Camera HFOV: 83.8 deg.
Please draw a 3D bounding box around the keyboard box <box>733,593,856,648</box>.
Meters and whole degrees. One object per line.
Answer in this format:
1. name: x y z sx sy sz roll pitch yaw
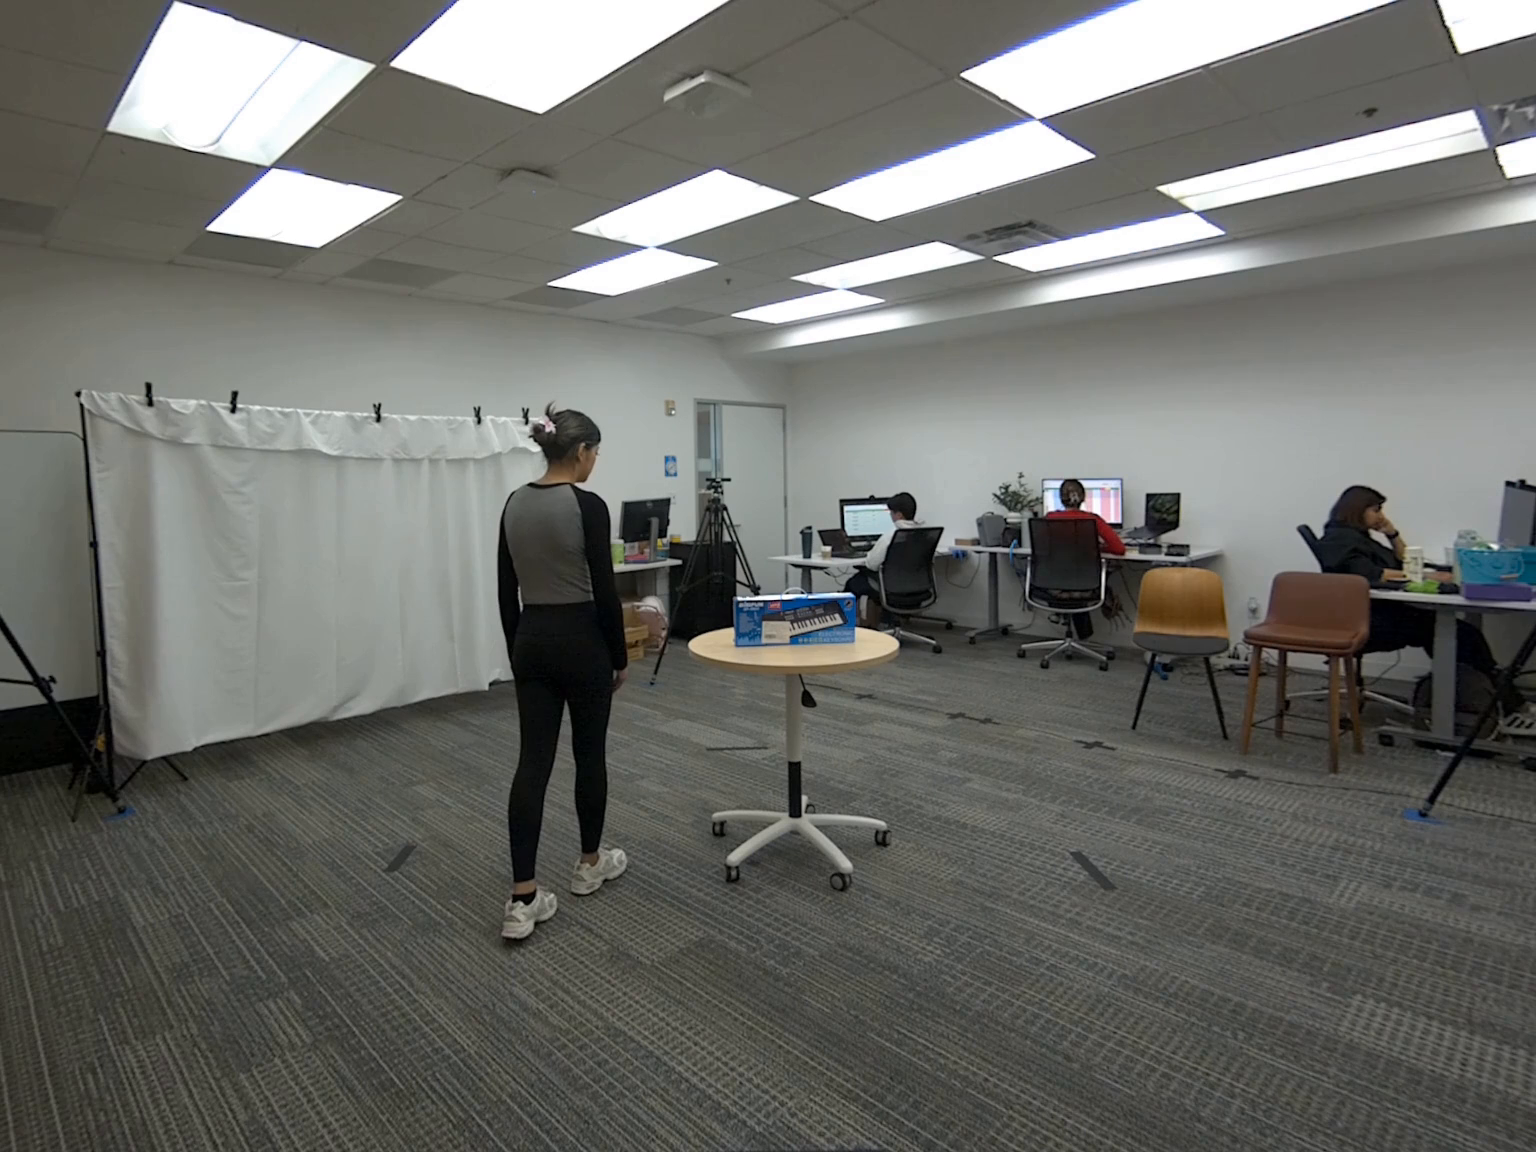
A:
1. keyboard box: 0.098 0.160 3.097 0.435 0.175 0.060 -2 8 -5
